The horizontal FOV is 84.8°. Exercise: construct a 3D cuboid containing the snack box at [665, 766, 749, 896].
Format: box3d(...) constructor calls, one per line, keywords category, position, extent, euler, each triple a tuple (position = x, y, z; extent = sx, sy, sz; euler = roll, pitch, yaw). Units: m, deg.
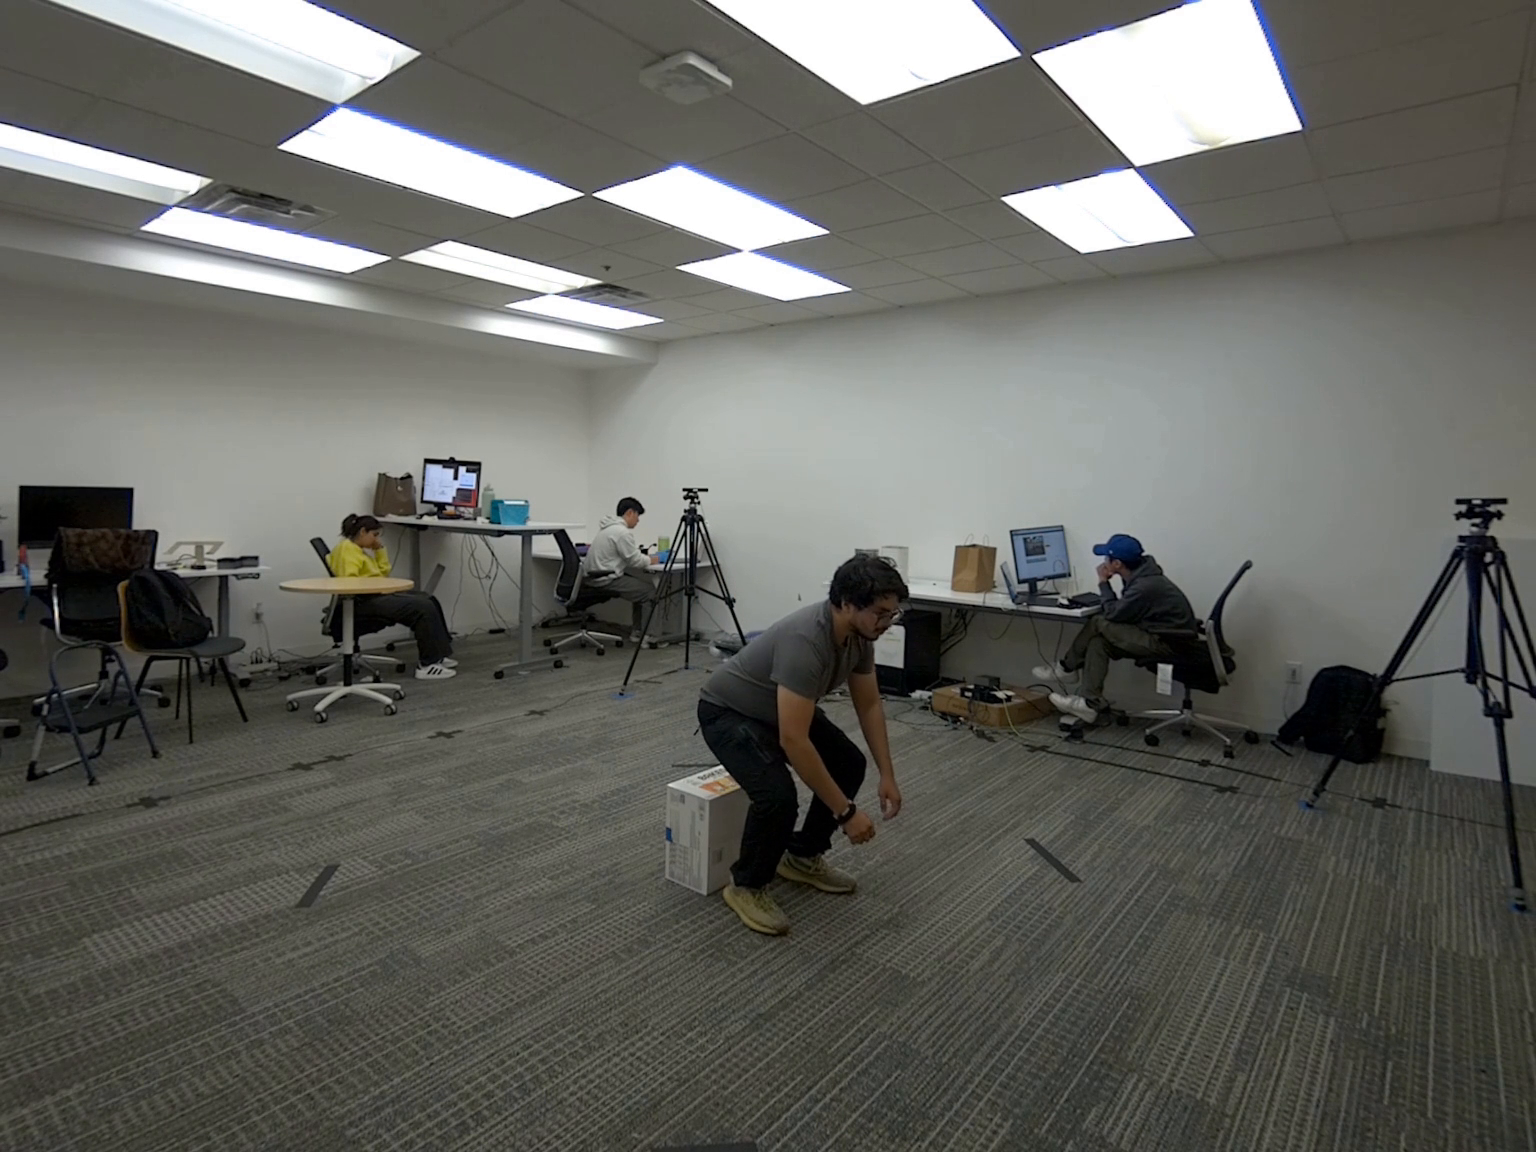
box3d(category="snack box", position=(-0.173, 0.901, 3.106), extent=(0.212, 0.339, 0.393), euler=(4, 5, 38))
